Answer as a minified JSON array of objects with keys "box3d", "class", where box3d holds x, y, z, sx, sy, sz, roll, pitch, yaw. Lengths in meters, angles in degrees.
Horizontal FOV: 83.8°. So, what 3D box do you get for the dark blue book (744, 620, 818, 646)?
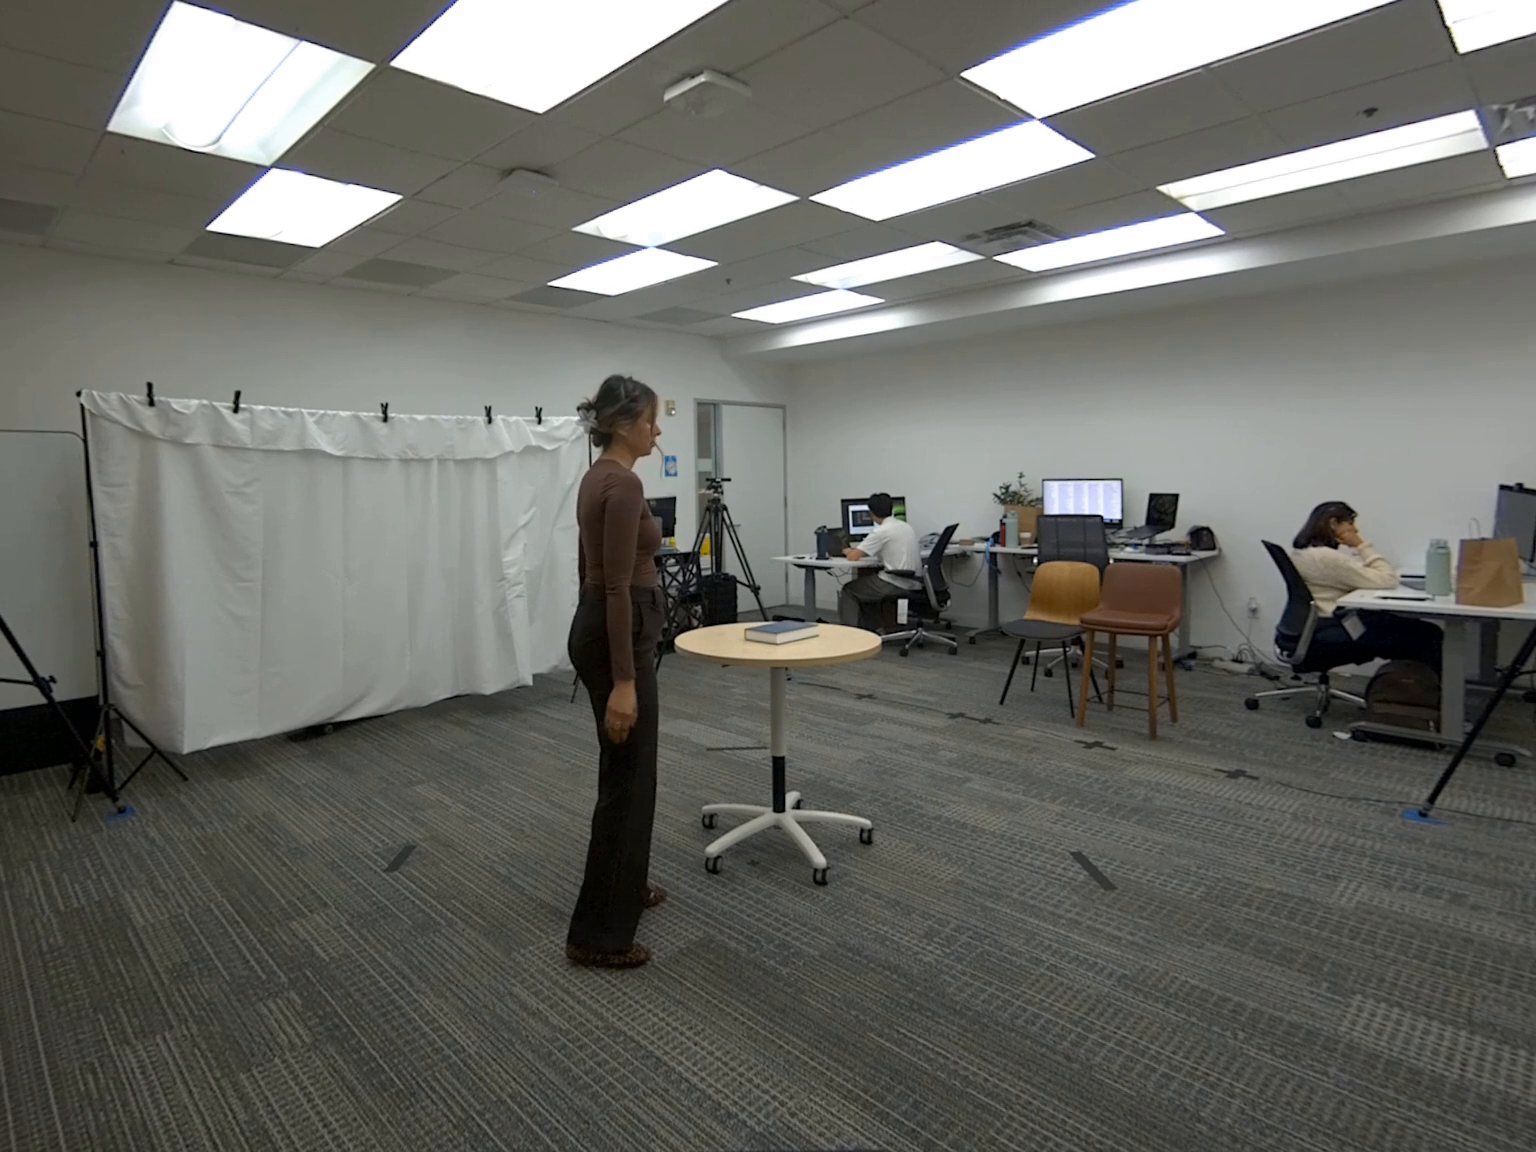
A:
[{"box3d":[0.058,0.211,3.195,0.168,0.045,0.239,4,8,42],"class":"dark blue book"}]
